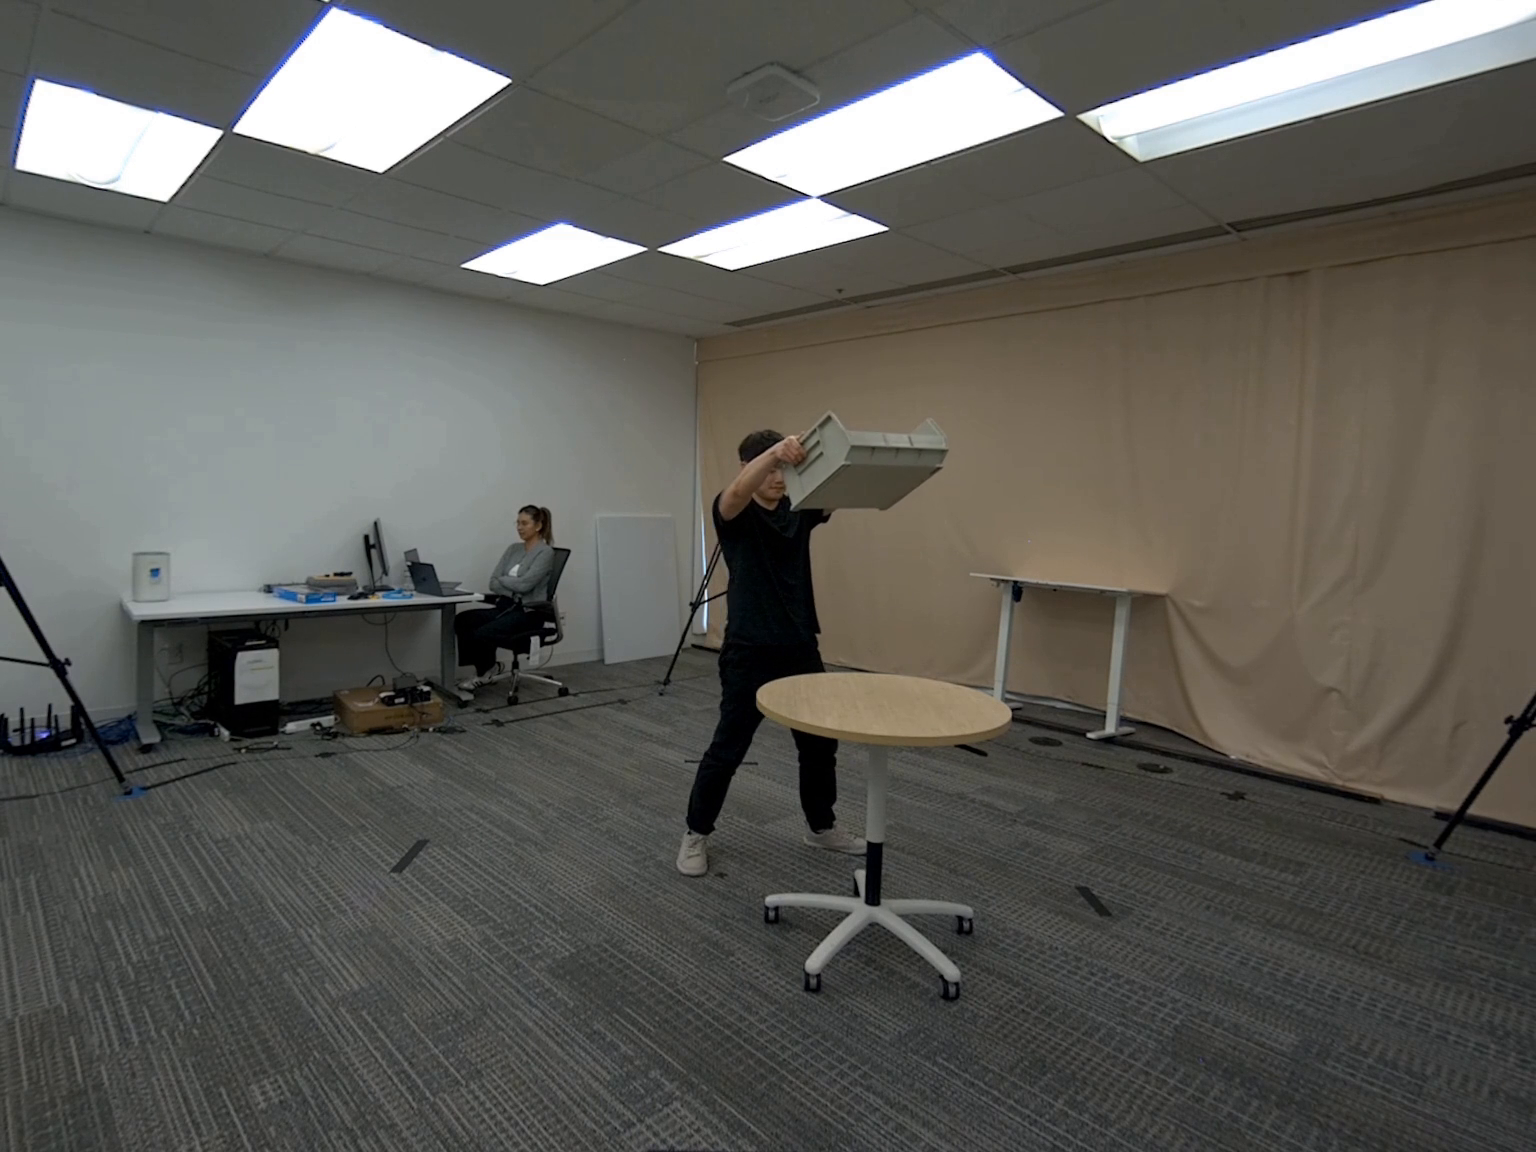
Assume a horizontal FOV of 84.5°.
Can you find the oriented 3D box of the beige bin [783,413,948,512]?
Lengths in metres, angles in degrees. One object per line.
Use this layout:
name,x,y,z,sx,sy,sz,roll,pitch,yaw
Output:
beige bin,0.300,-0.370,2.745,0.414,0.192,0.378,-3,-22,-33
